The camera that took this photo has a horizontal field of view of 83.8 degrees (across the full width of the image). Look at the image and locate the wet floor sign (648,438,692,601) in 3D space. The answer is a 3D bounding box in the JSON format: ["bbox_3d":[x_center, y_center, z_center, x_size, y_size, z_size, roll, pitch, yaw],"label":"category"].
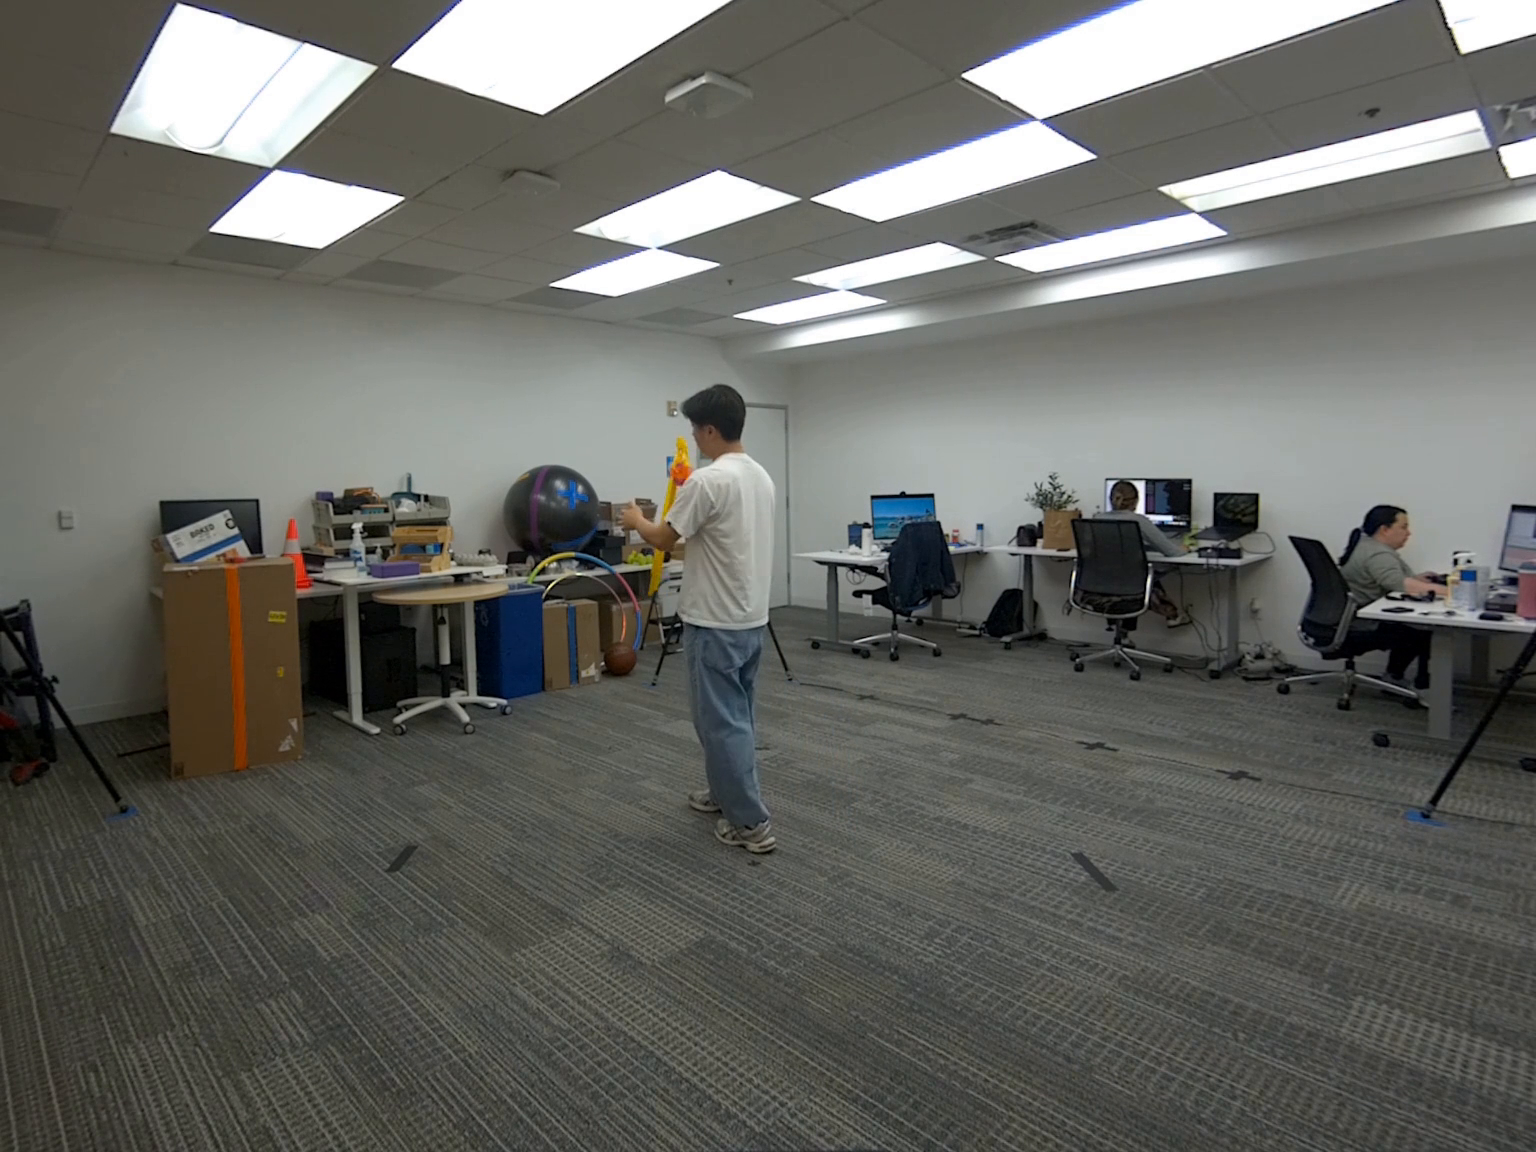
[{"bbox_3d":[-0.364,-0.251,3.589,0.290,0.646,0.282,0,0,1],"label":"wet floor sign"}]
